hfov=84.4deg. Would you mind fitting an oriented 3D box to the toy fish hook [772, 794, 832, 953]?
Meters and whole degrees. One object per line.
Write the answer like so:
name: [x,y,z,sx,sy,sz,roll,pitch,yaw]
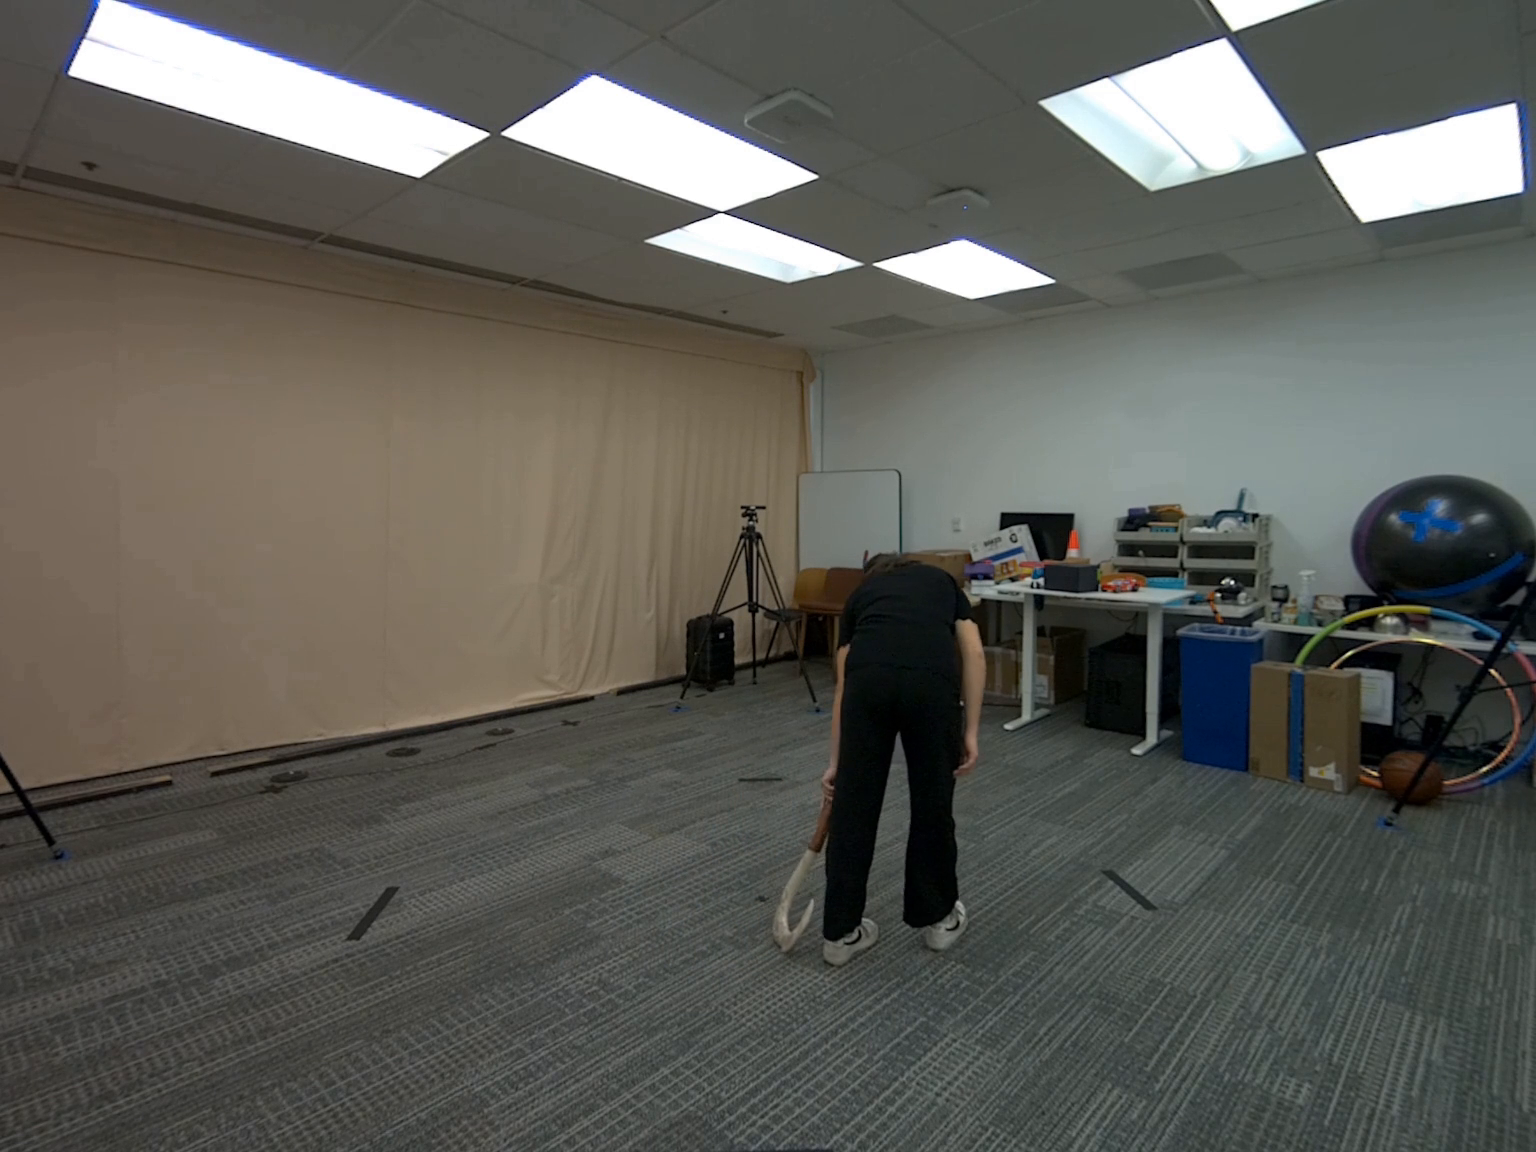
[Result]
toy fish hook: [0.148,0.943,2.675,0.047,0.507,0.229,24,-3,-20]
